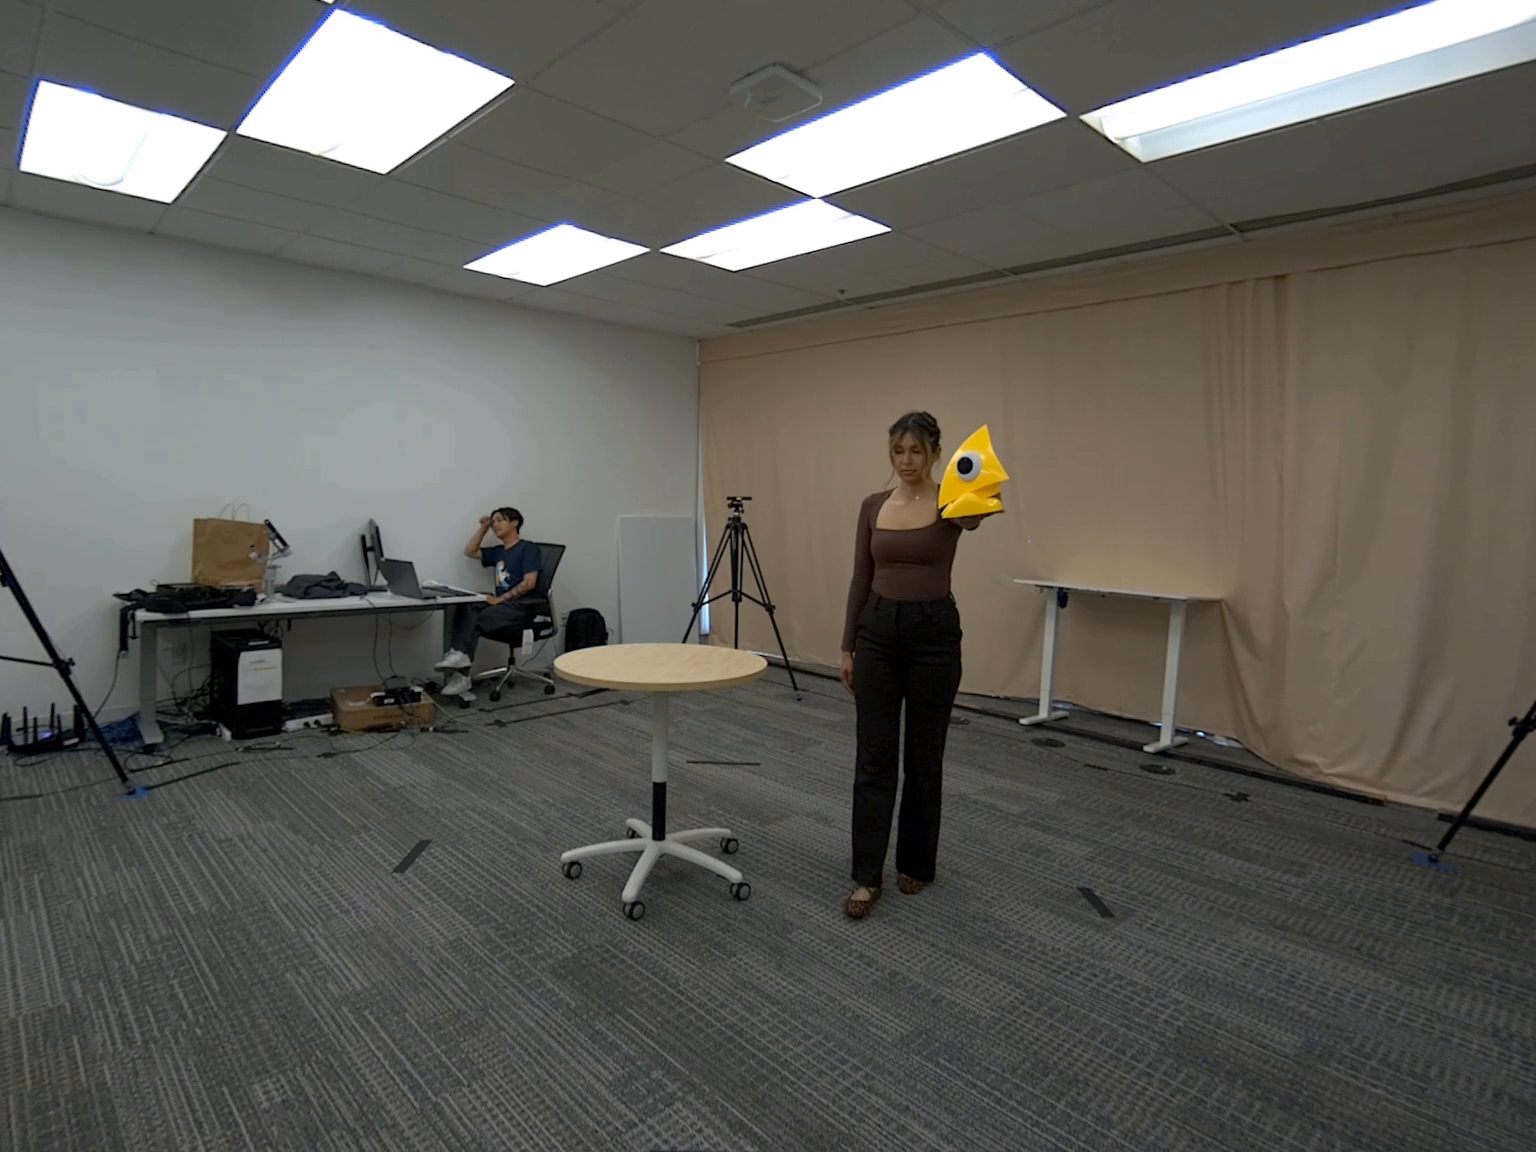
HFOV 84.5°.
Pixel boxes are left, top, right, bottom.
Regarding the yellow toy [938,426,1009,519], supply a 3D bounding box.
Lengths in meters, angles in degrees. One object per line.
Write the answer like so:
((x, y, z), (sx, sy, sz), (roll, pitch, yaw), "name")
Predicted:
((0.554, -0.291, 2.291), (0.195, 0.230, 0.203), (-7, 4, 12), "yellow toy")
